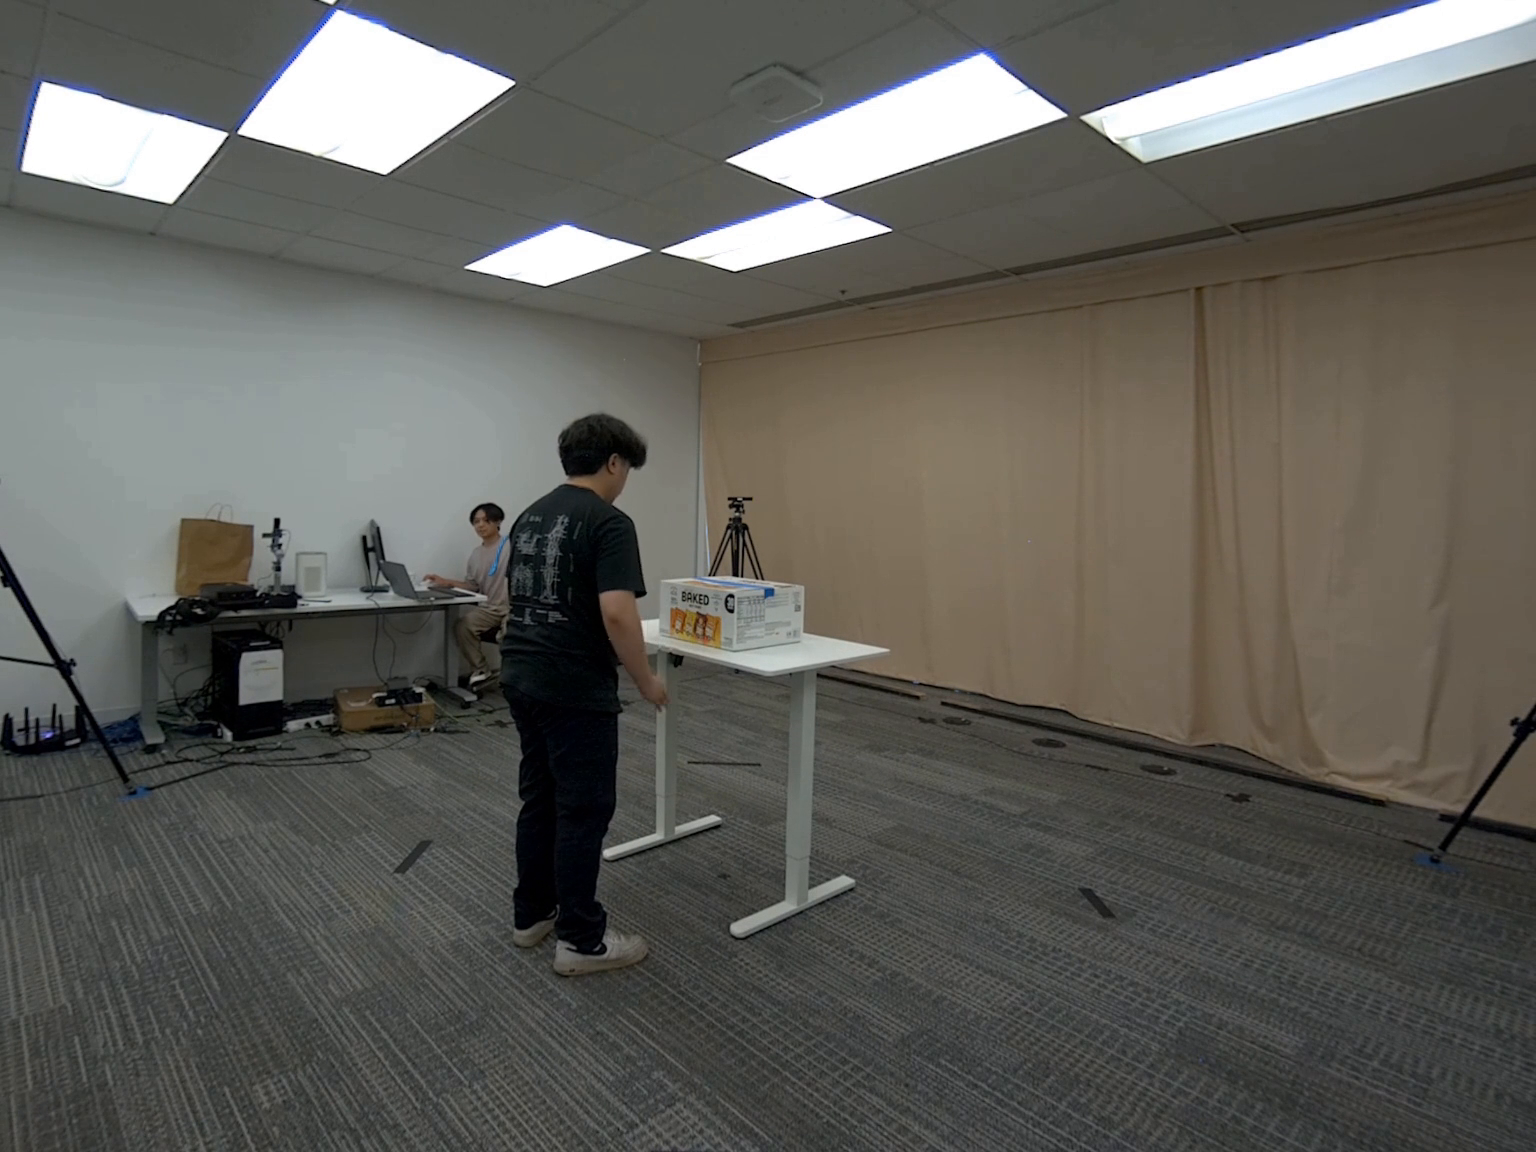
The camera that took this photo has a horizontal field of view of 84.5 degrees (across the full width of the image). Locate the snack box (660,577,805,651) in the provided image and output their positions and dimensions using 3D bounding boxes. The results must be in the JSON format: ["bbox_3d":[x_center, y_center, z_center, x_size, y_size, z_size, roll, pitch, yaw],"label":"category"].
[{"bbox_3d":[-0.140,0.128,3.050,0.333,0.205,0.416,-4,8,-44],"label":"snack box"}]
